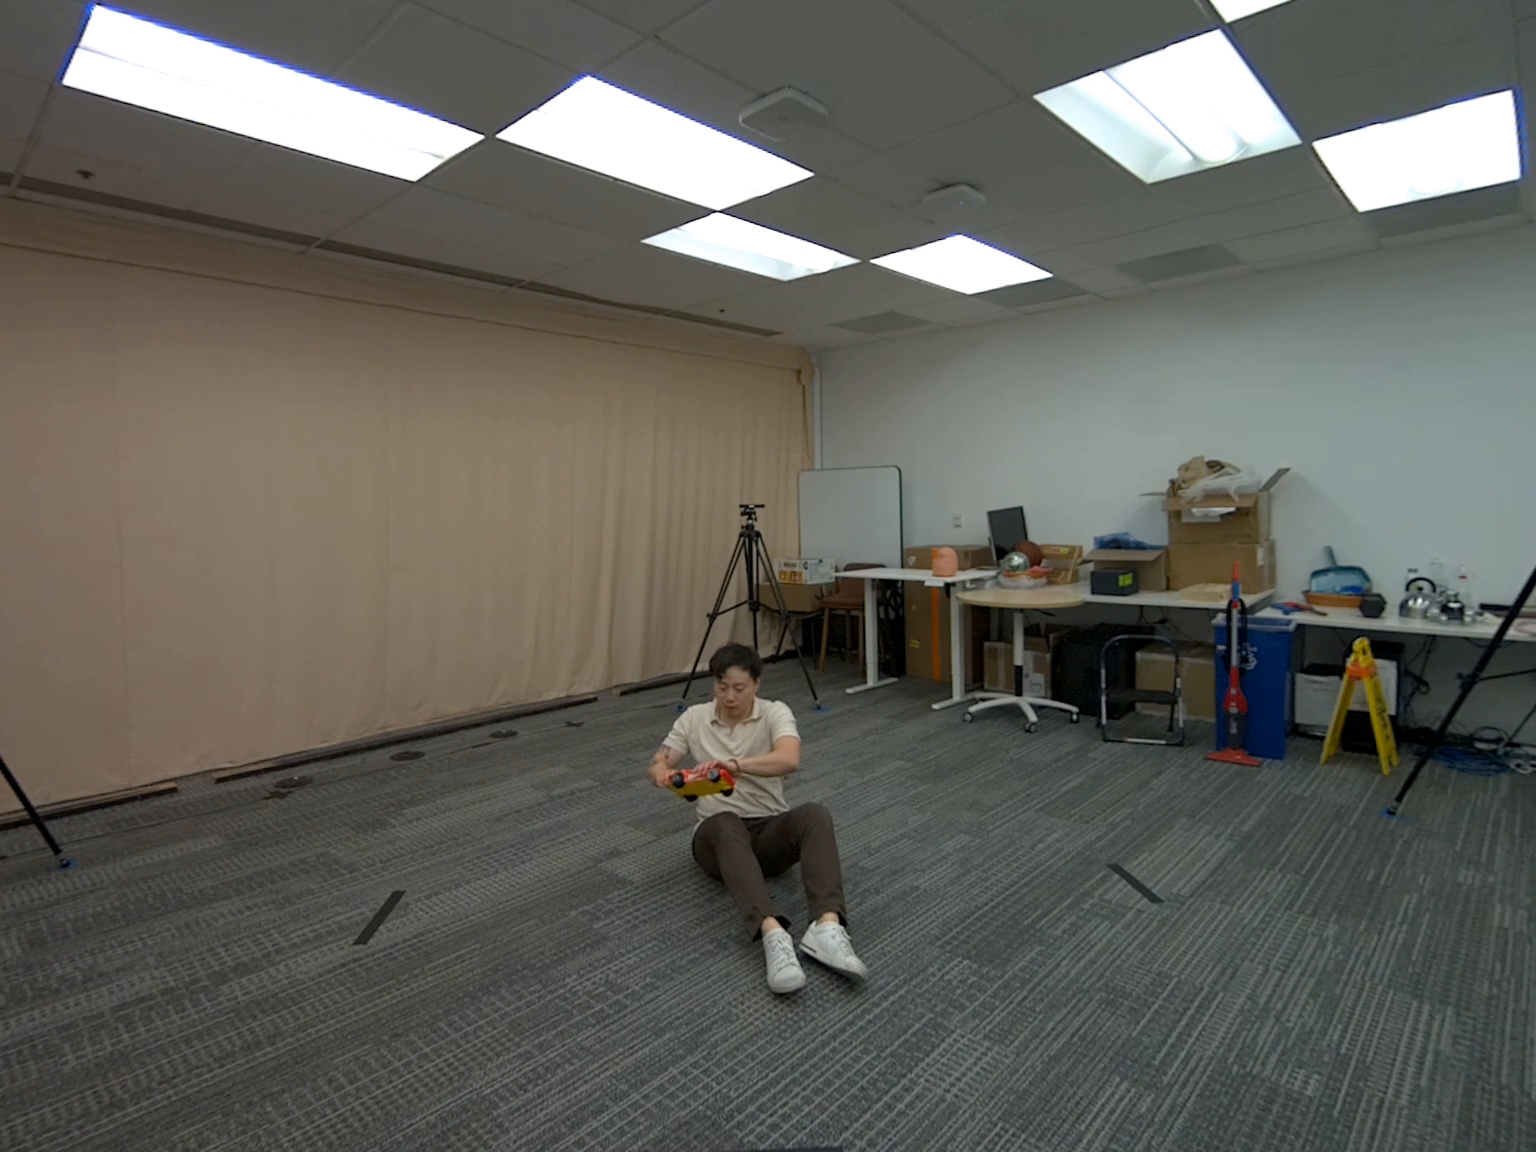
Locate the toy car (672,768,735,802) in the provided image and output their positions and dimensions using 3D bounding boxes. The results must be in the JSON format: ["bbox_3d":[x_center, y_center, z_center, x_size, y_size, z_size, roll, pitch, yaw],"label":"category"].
[{"bbox_3d":[-0.230,0.716,2.899,0.262,0.126,0.083,-5,43,34],"label":"toy car"}]
